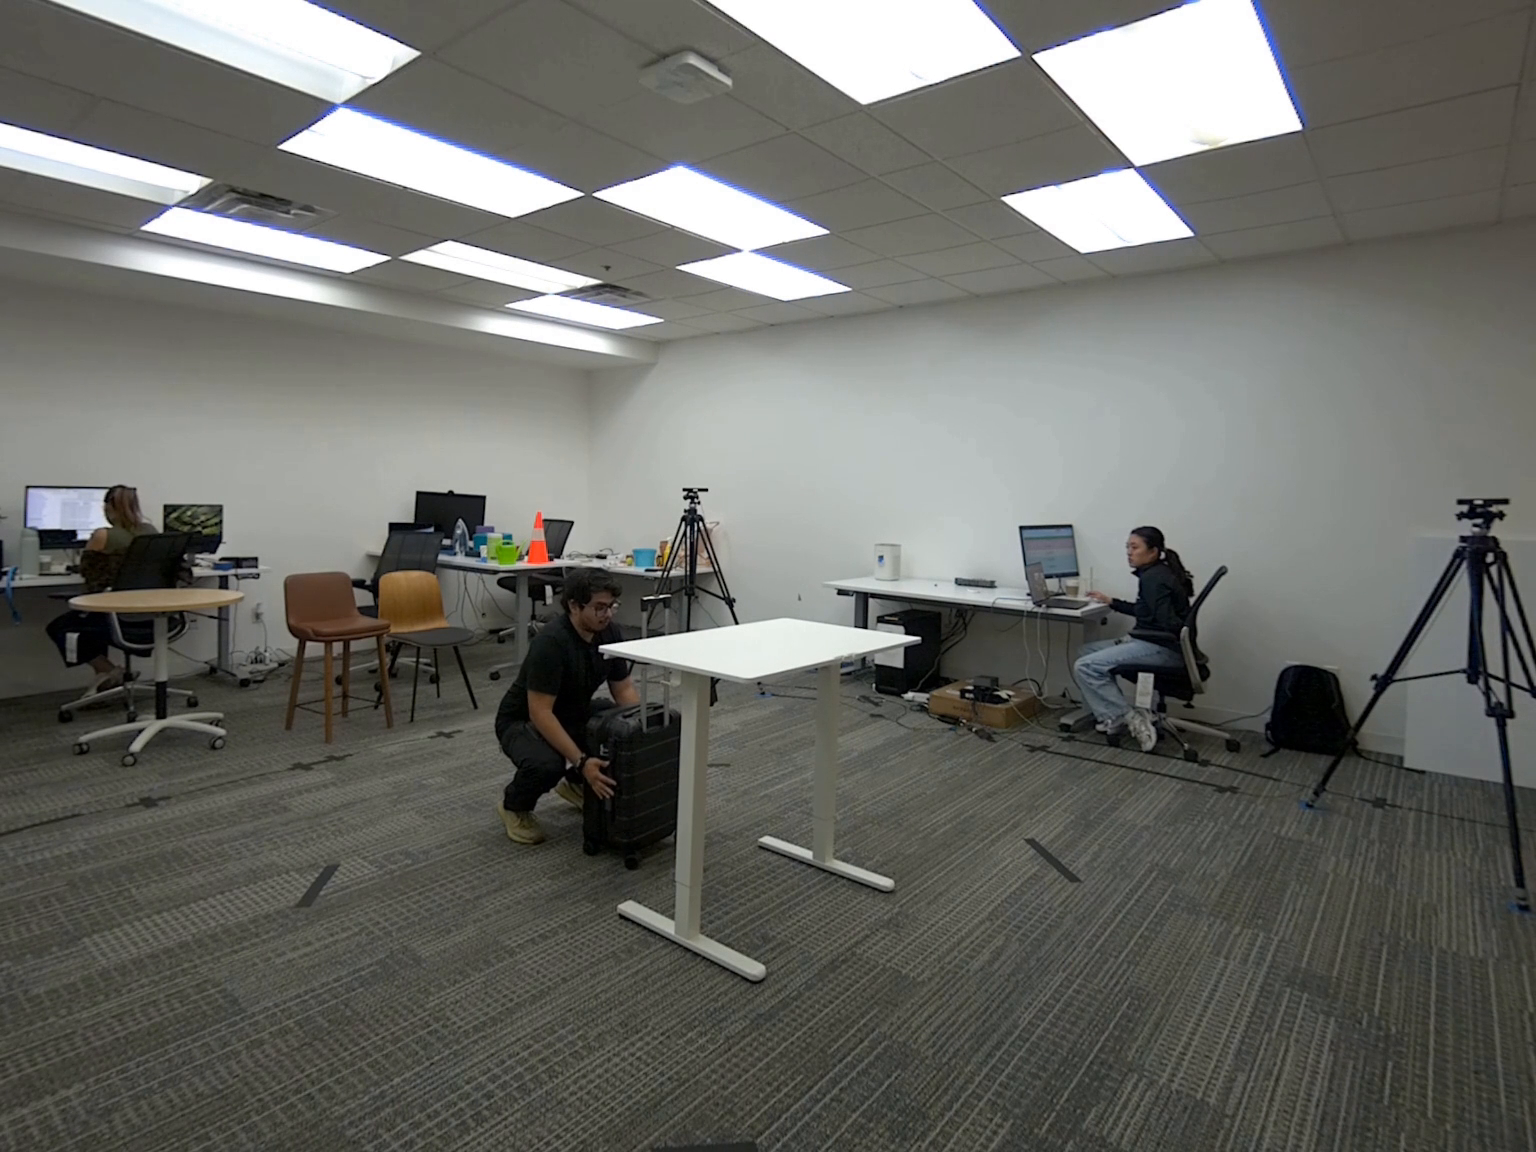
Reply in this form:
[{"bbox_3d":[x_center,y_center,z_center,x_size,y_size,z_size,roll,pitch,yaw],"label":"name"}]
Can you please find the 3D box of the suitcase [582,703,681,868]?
[{"bbox_3d":[-0.533,0.570,3.274,0.265,0.977,0.373,-1,2,36],"label":"suitcase"}]
